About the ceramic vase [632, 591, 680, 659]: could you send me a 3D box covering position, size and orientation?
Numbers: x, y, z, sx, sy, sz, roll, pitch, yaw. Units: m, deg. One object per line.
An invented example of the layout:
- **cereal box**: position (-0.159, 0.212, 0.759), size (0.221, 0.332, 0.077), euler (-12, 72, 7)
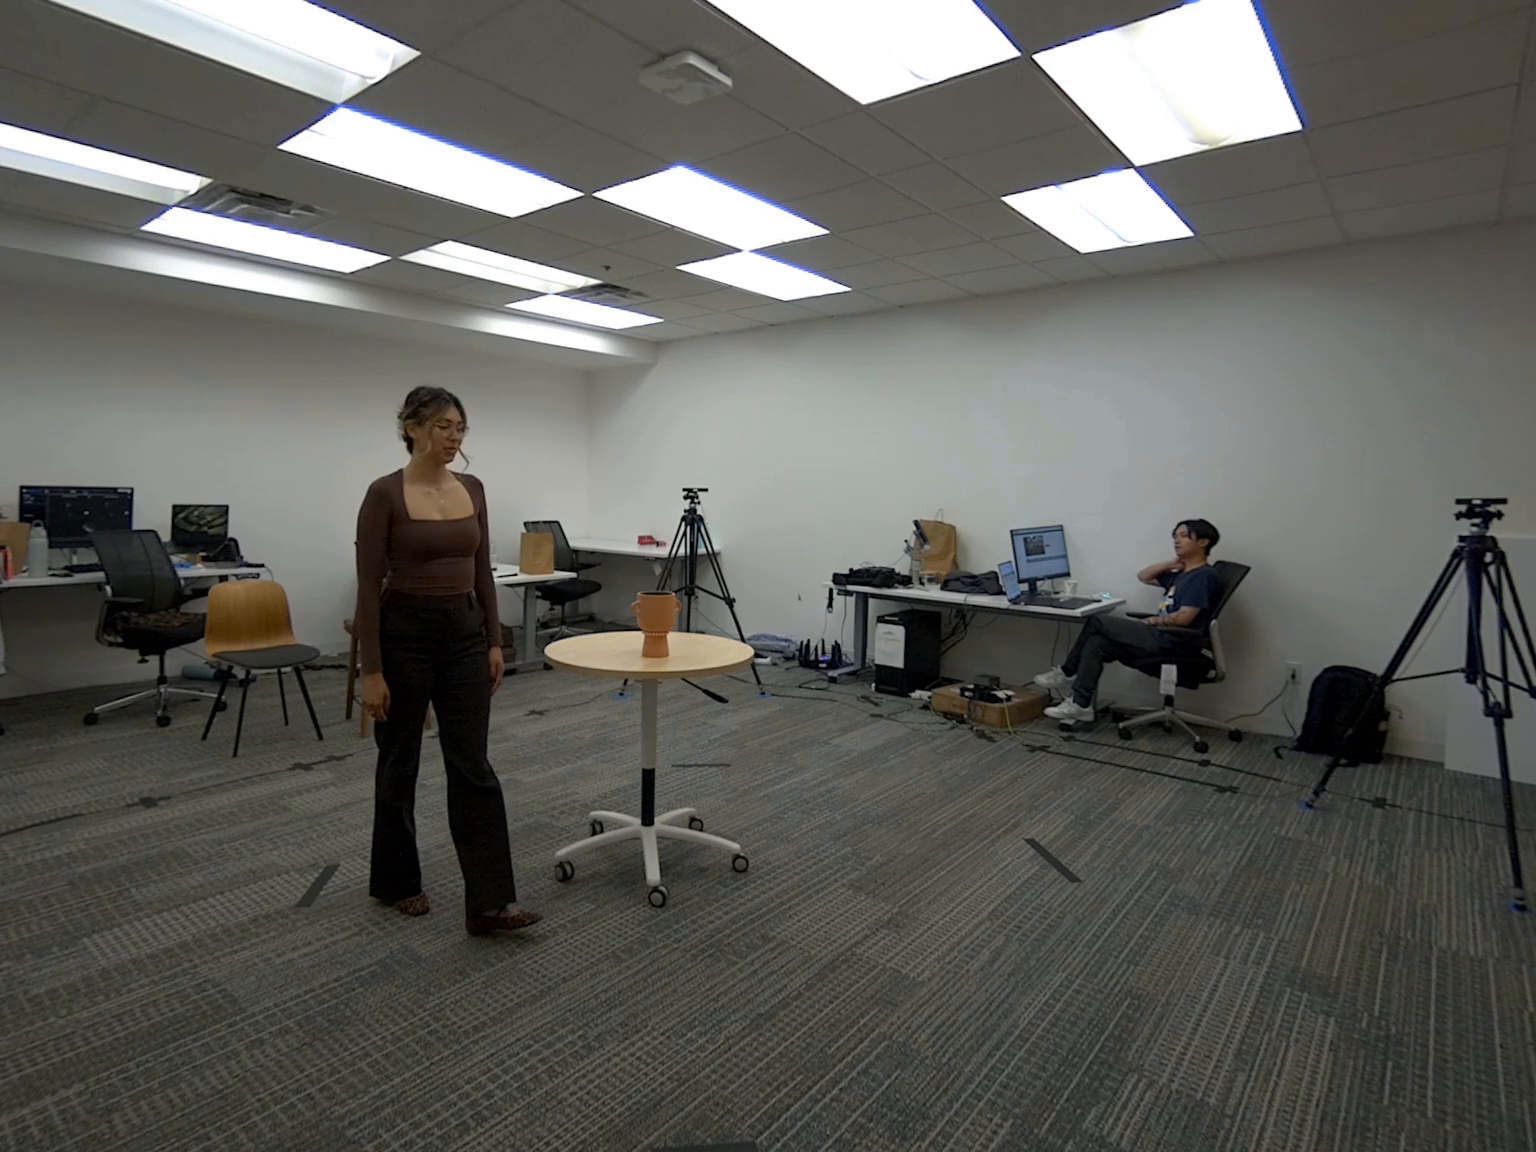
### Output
- **ceramic vase**: position (-0.405, 0.171, 3.005), size (0.160, 0.219, 0.134), euler (1, 5, 9)
